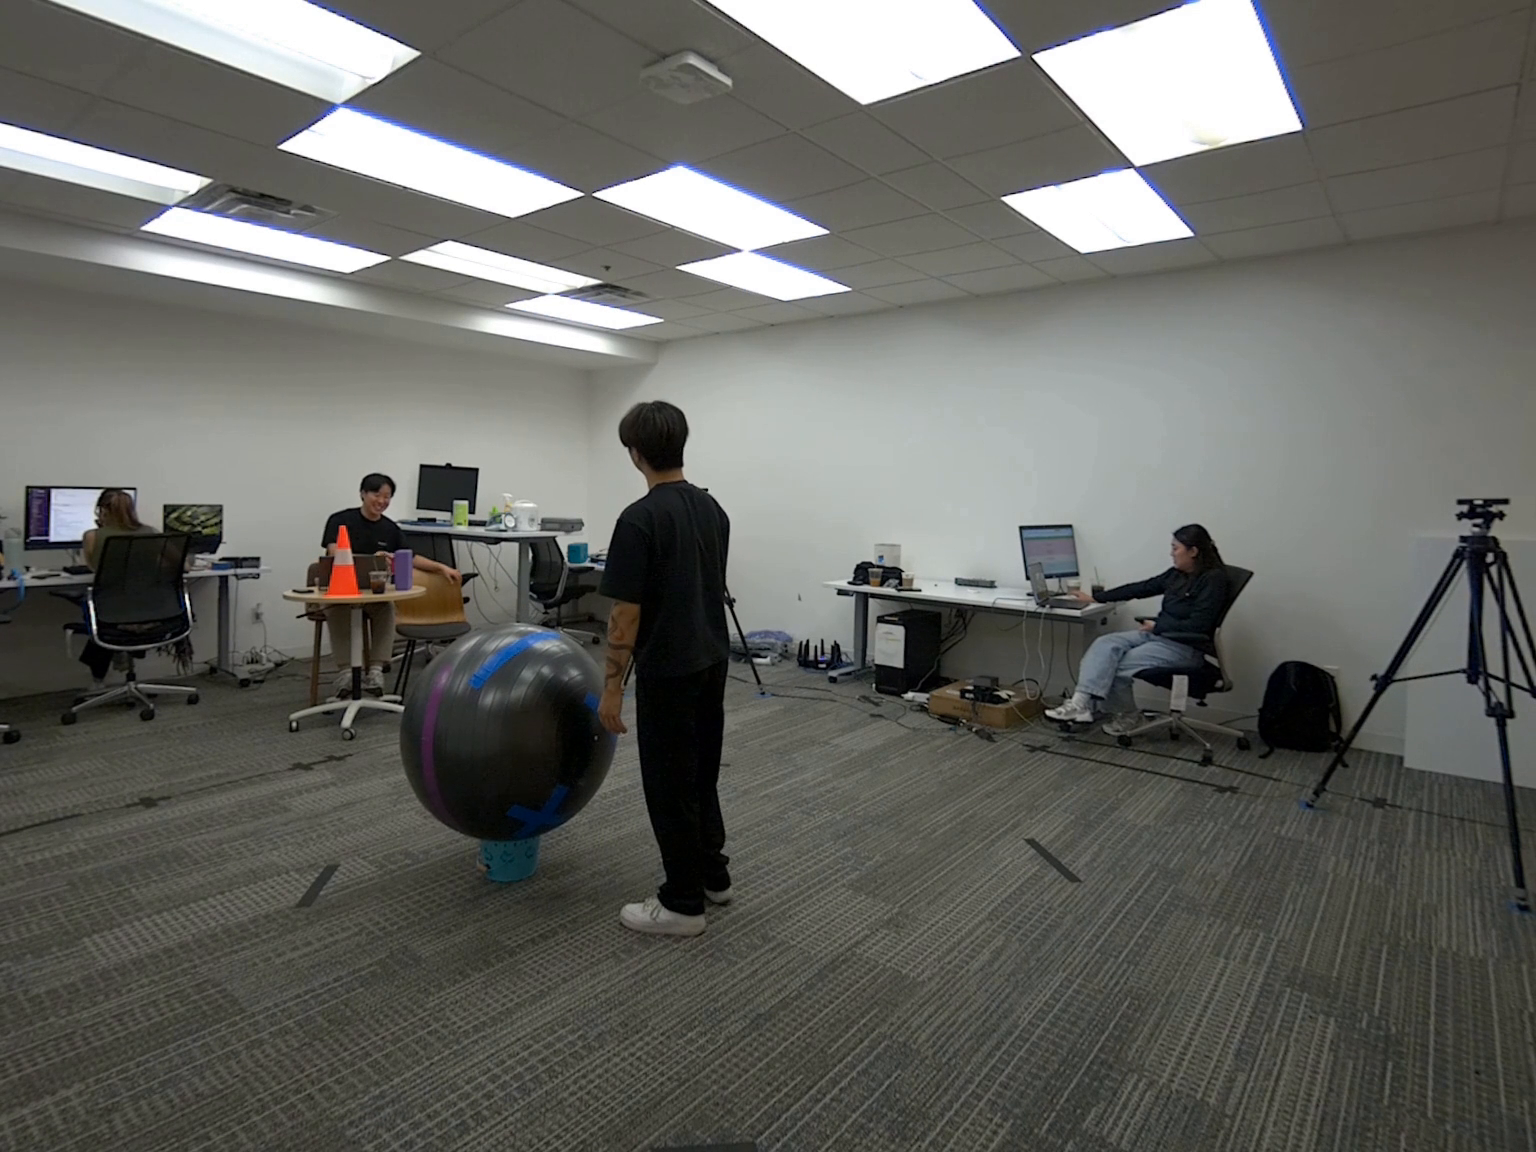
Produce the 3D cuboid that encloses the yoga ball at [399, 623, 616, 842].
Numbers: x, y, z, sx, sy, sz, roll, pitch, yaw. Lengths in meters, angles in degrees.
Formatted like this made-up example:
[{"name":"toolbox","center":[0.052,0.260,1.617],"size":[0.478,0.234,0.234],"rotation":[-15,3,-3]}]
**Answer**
[{"name":"yoga ball","center":[-0.938,0.553,3.054],"size":[0.757,0.756,0.762],"rotation":[1,4,-2]}]
